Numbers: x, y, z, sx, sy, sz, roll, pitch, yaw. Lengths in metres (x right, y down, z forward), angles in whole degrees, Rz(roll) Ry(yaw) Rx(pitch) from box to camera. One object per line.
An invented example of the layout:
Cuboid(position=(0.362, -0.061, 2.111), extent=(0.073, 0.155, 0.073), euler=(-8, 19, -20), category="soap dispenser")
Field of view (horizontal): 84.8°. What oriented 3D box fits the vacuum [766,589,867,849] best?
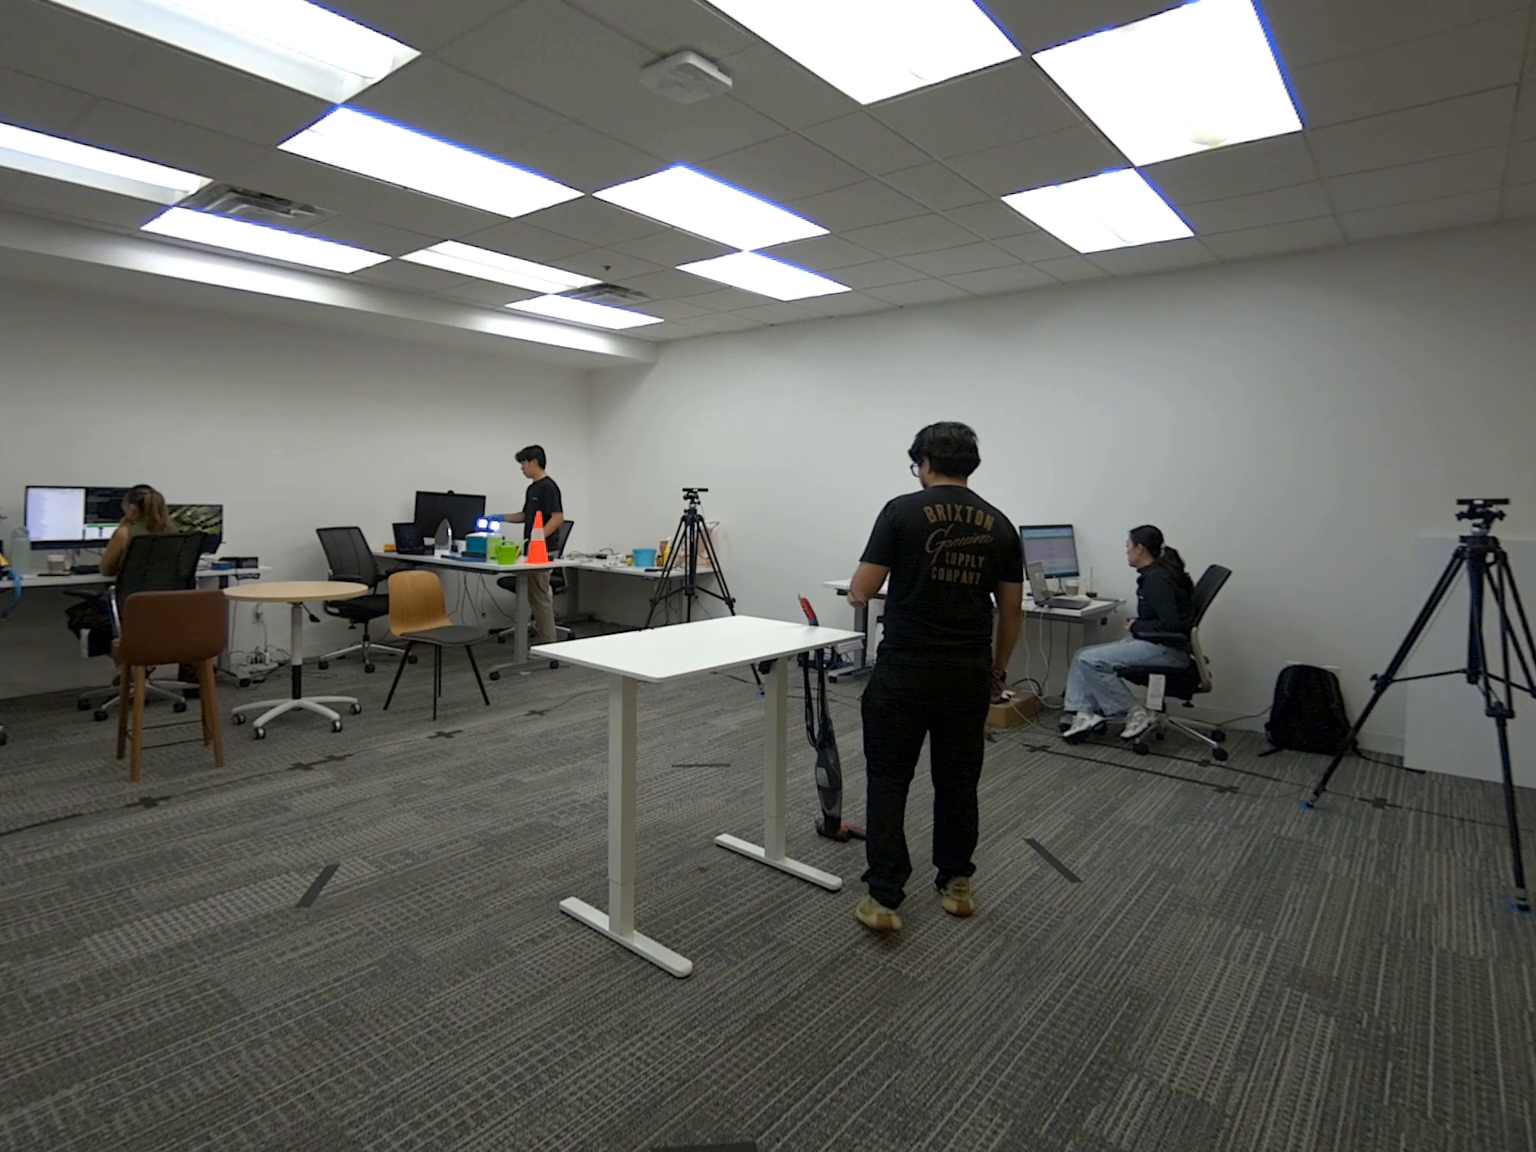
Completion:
Cuboid(position=(0.207, 0.564, 3.283), extent=(0.260, 1.027, 0.143), euler=(3, 23, 29), category="vacuum")
